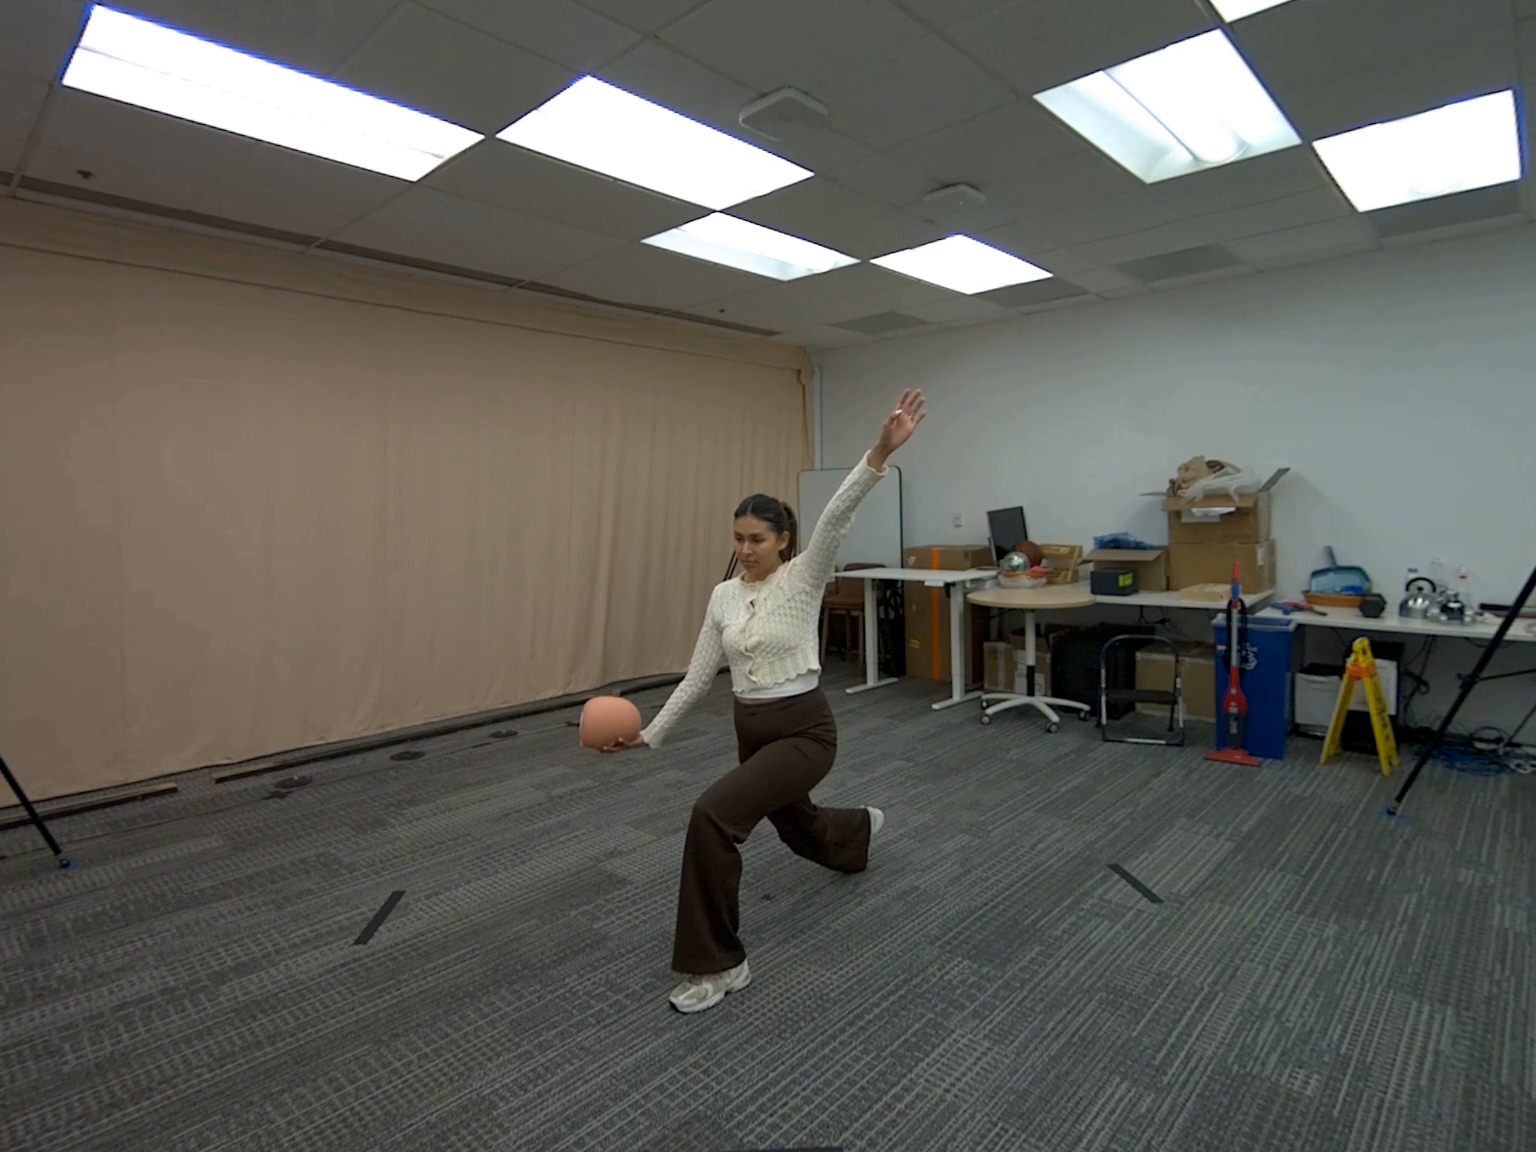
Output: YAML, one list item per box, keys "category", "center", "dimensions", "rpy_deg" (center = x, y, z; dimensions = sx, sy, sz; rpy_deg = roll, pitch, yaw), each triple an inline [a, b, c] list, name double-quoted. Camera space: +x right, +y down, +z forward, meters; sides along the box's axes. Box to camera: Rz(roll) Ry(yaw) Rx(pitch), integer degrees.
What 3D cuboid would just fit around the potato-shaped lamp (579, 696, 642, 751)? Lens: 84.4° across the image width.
- category: "potato-shaped lamp"
  center: [-0.513, 0.488, 2.782]
  dimensions: [0.197, 0.170, 0.167]
  rpy_deg: [7, 13, -7]
